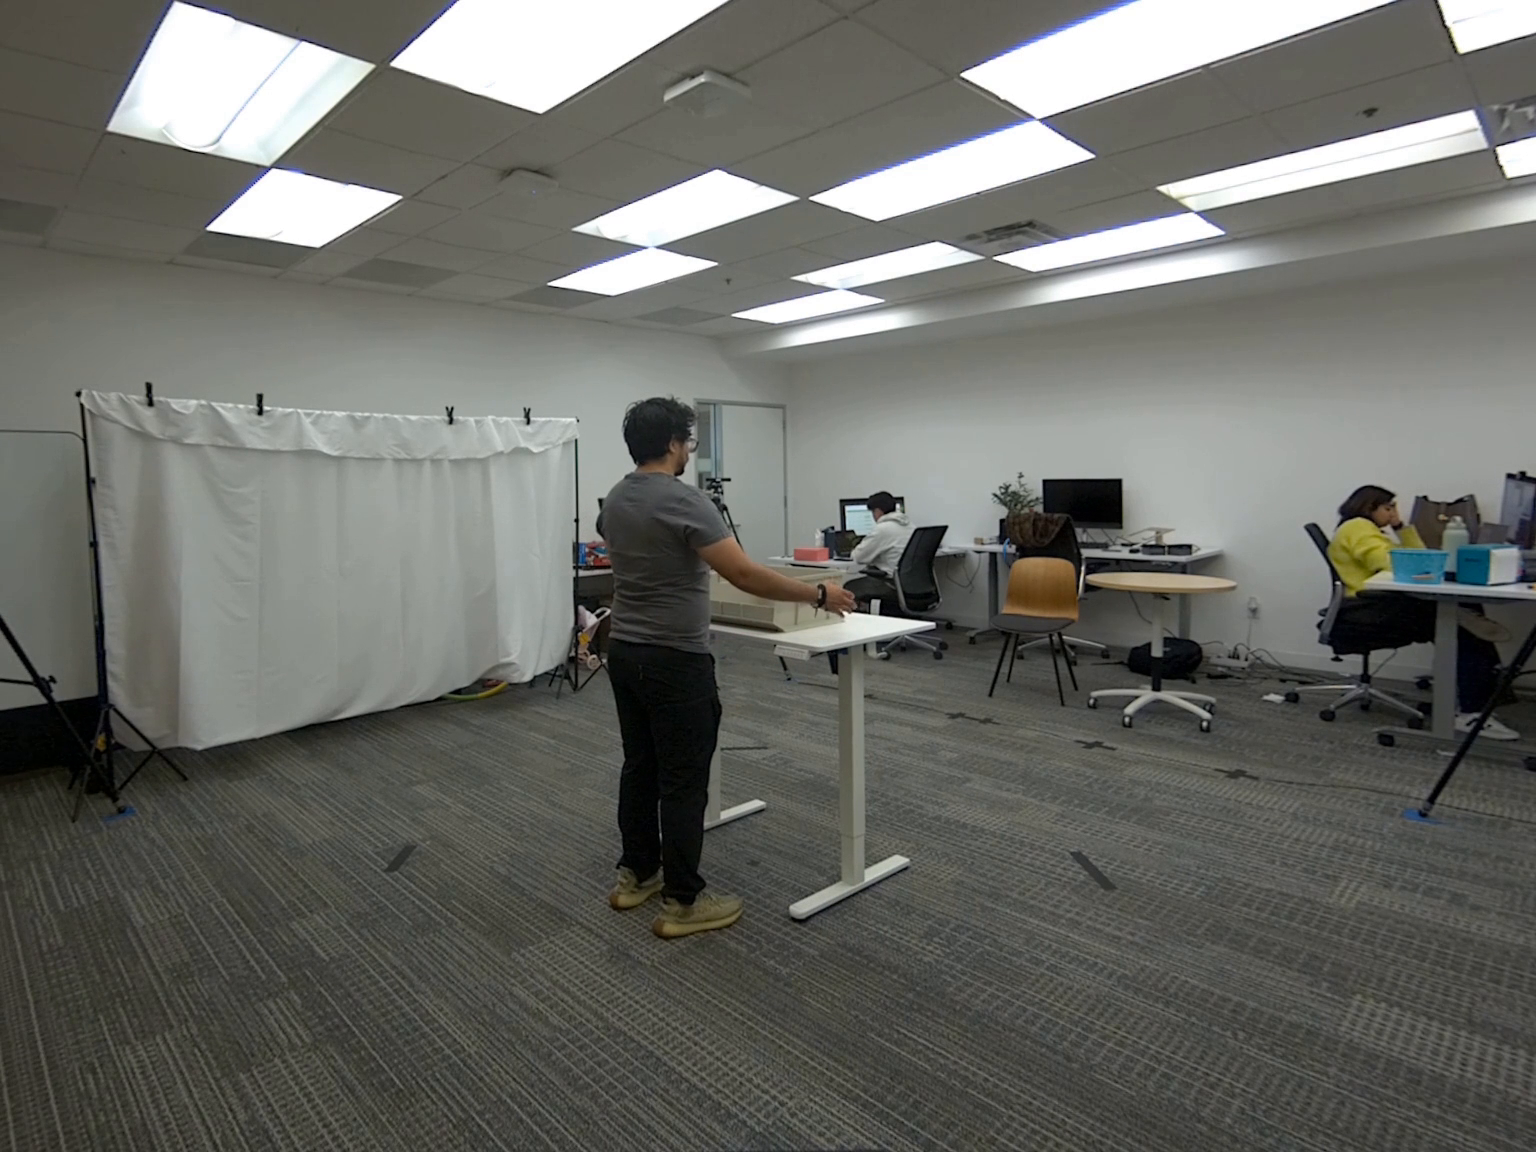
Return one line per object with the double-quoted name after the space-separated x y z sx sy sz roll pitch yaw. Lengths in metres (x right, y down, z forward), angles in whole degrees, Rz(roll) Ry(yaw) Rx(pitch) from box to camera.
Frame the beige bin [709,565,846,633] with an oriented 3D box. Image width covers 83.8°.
0.005 0.078 3.041 0.367 0.188 0.435 -4 6 -44 "beige bin"
